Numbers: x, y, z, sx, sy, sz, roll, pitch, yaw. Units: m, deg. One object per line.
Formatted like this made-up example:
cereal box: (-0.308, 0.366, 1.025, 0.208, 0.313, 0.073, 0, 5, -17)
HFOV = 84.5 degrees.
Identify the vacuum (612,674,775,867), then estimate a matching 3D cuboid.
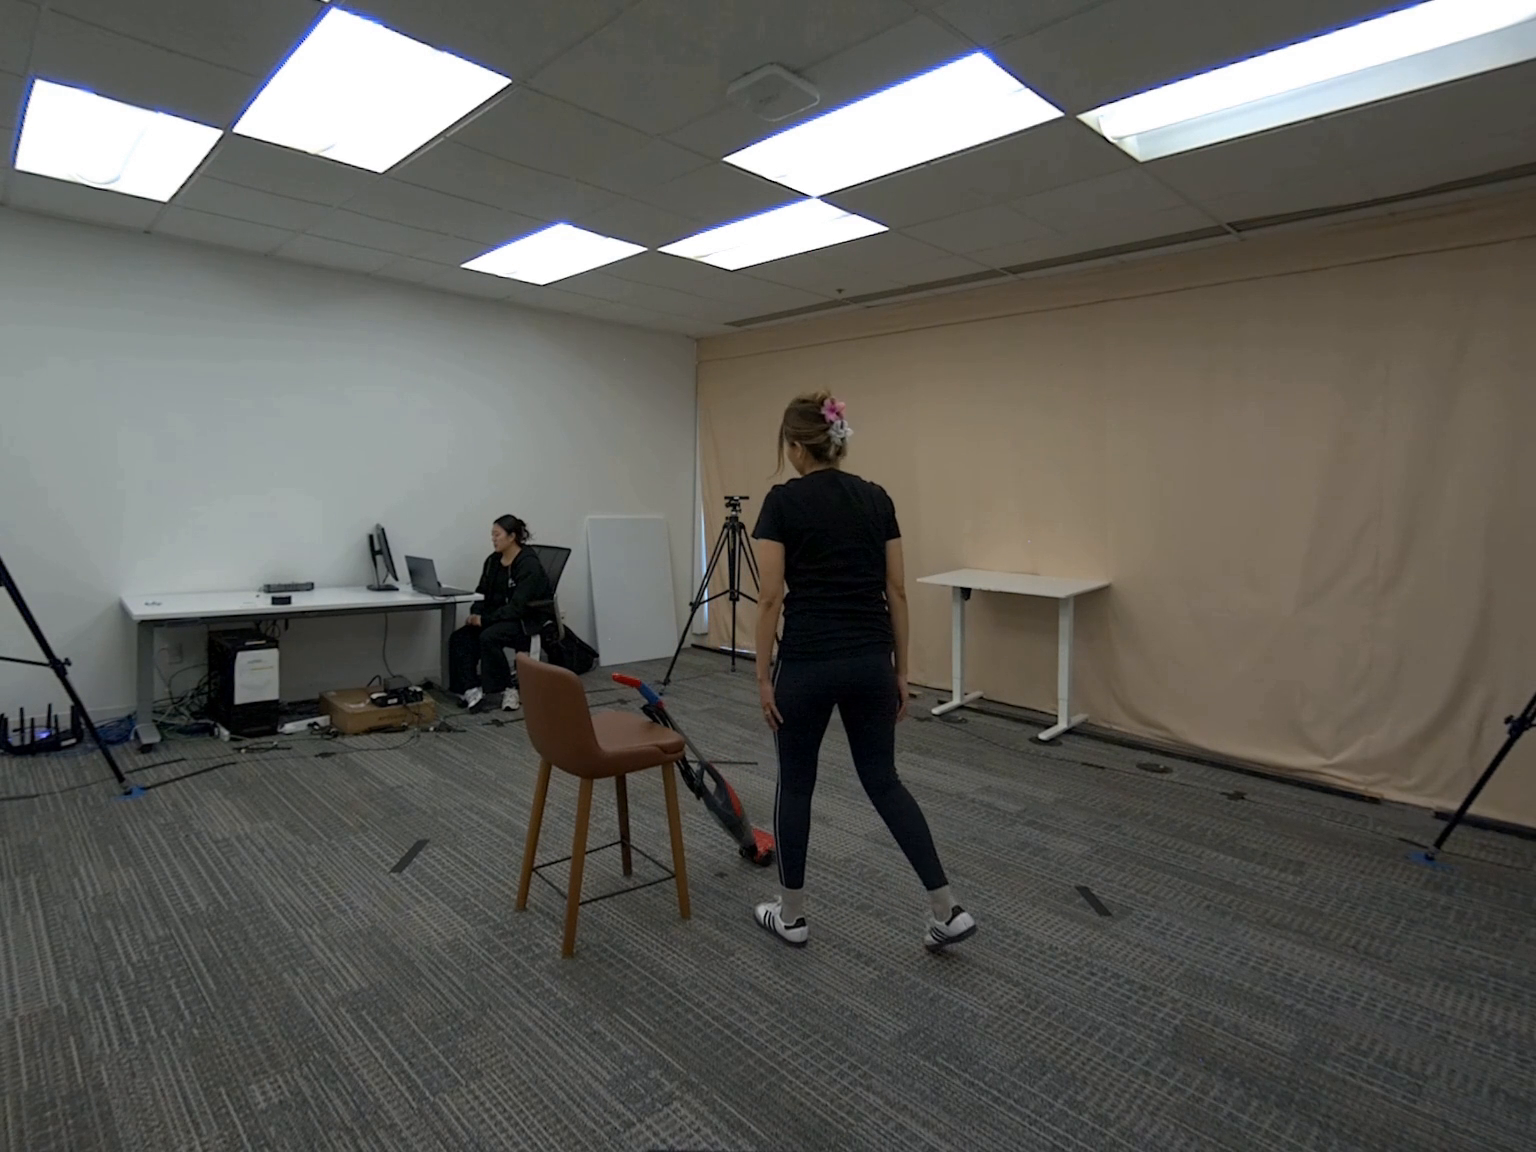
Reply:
vacuum: (-0.259, 0.700, 3.018, 0.258, 1.021, 0.144, -1, 42, 43)
